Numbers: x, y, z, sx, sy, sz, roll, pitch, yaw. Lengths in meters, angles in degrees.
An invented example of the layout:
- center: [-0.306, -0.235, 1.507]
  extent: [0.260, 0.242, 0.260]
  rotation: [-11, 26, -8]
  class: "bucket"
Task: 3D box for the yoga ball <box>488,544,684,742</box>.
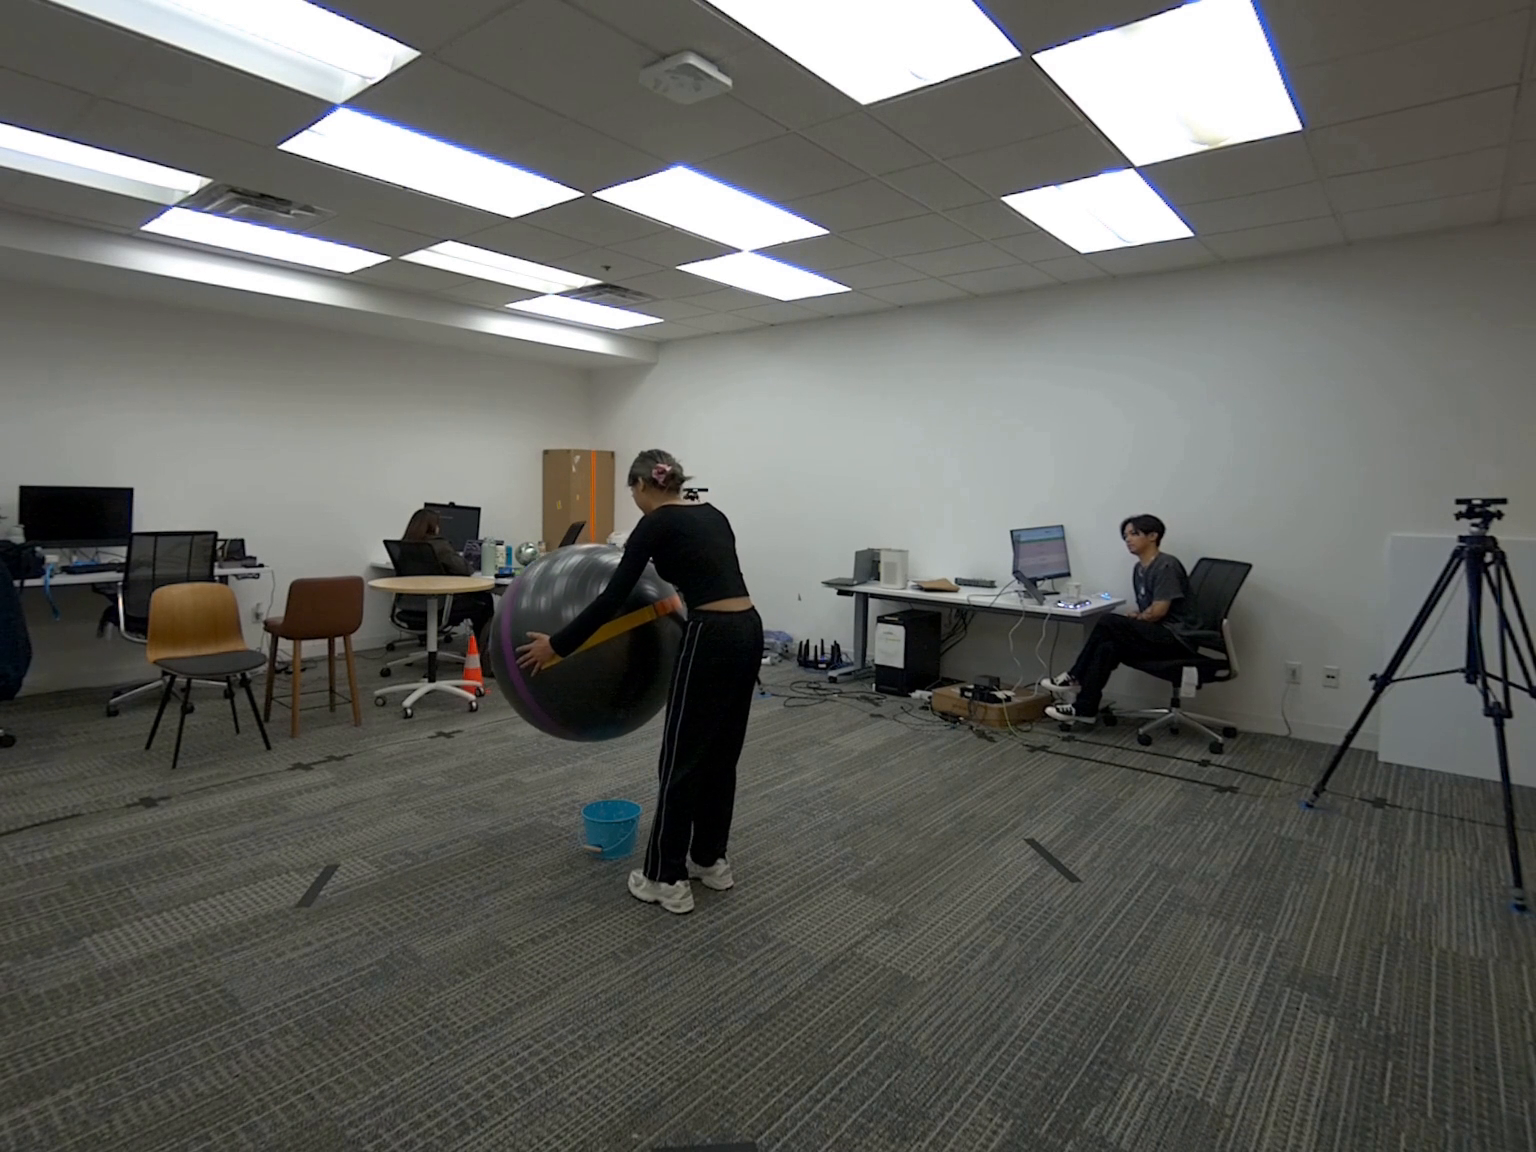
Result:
- center: [-0.704, 0.263, 3.280]
  extent: [0.757, 0.755, 0.762]
  rotation: [1, 4, -2]
  class: "yoga ball"
